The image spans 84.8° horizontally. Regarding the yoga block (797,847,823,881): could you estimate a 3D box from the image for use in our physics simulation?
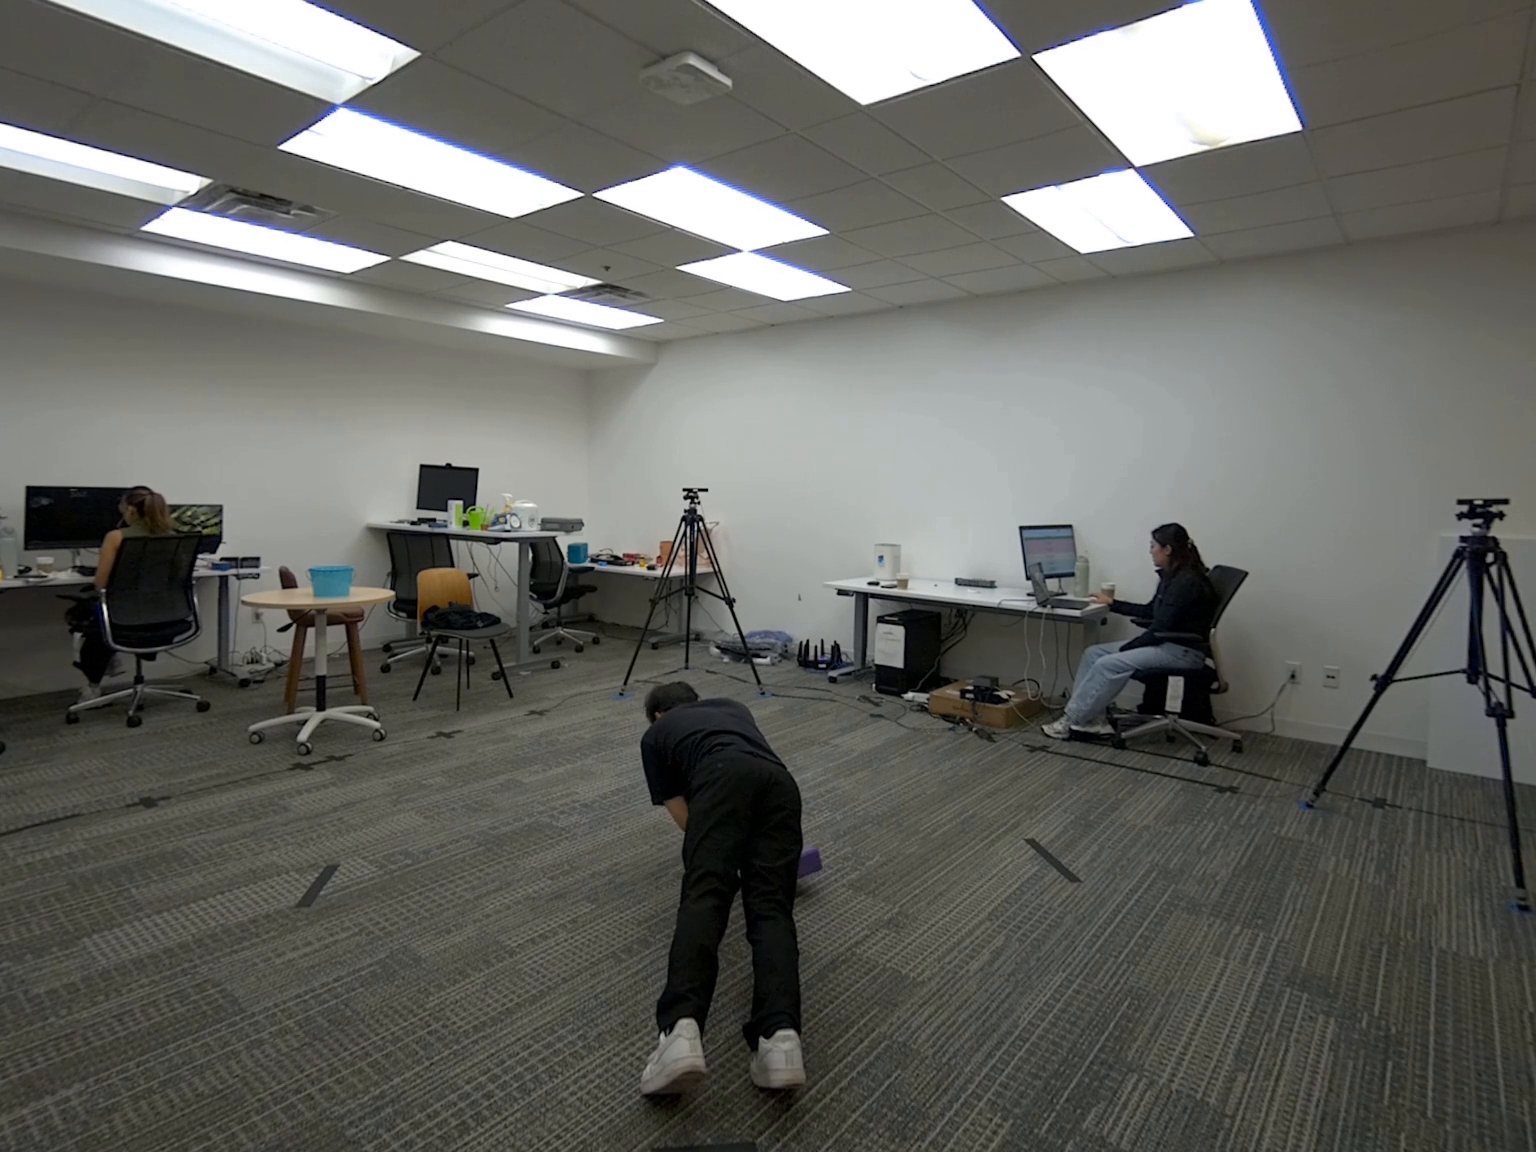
[{"bbox_3d":[0.038,1.006,2.944,0.225,0.077,0.151,-12,-2,-21],"label":"yoga block"}]
